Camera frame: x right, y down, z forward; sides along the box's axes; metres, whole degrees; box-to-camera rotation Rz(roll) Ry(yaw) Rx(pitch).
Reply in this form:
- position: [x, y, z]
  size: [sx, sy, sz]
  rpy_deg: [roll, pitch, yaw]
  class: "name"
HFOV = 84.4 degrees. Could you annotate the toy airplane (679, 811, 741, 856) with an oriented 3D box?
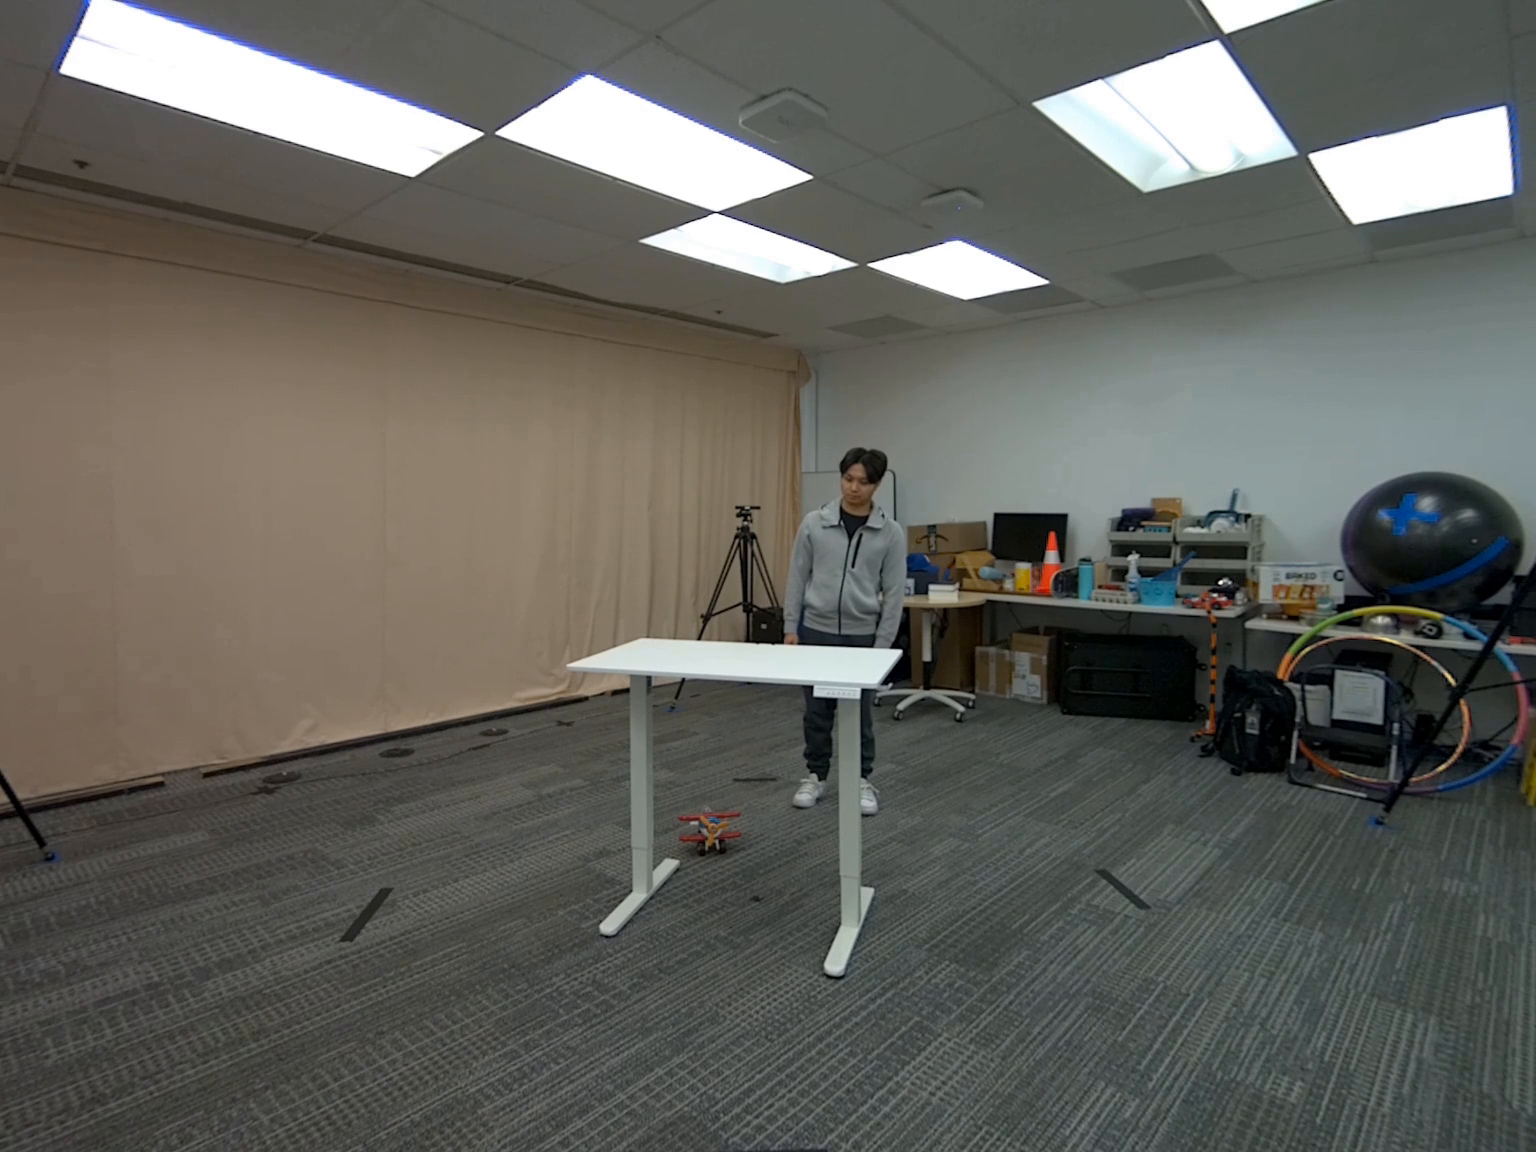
- position: [-0.261, 1.030, 3.444]
  size: [0.243, 0.156, 0.268]
  rpy_deg: [-3, 5, -39]
  class: "toy airplane"
